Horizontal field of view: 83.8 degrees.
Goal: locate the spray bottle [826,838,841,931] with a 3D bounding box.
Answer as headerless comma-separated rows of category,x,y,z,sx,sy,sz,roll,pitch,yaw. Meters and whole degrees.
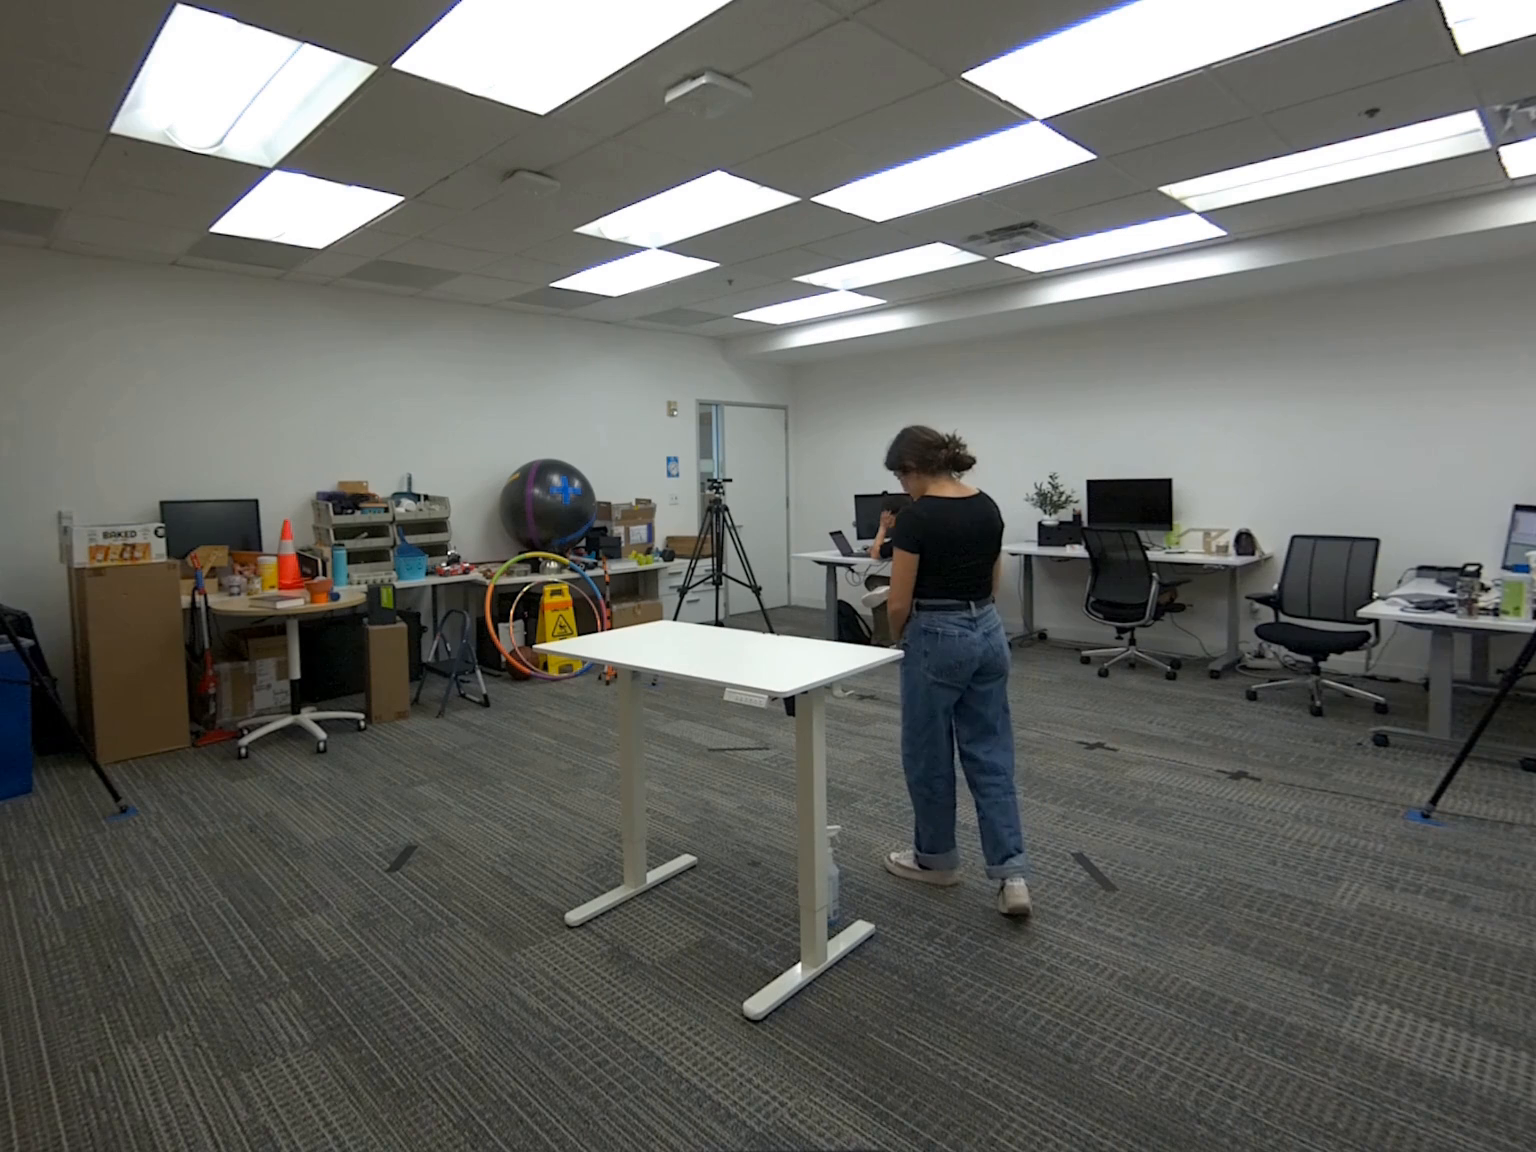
spray bottle,0.197,0.947,2.695,0.092,0.297,0.085,3,2,21
